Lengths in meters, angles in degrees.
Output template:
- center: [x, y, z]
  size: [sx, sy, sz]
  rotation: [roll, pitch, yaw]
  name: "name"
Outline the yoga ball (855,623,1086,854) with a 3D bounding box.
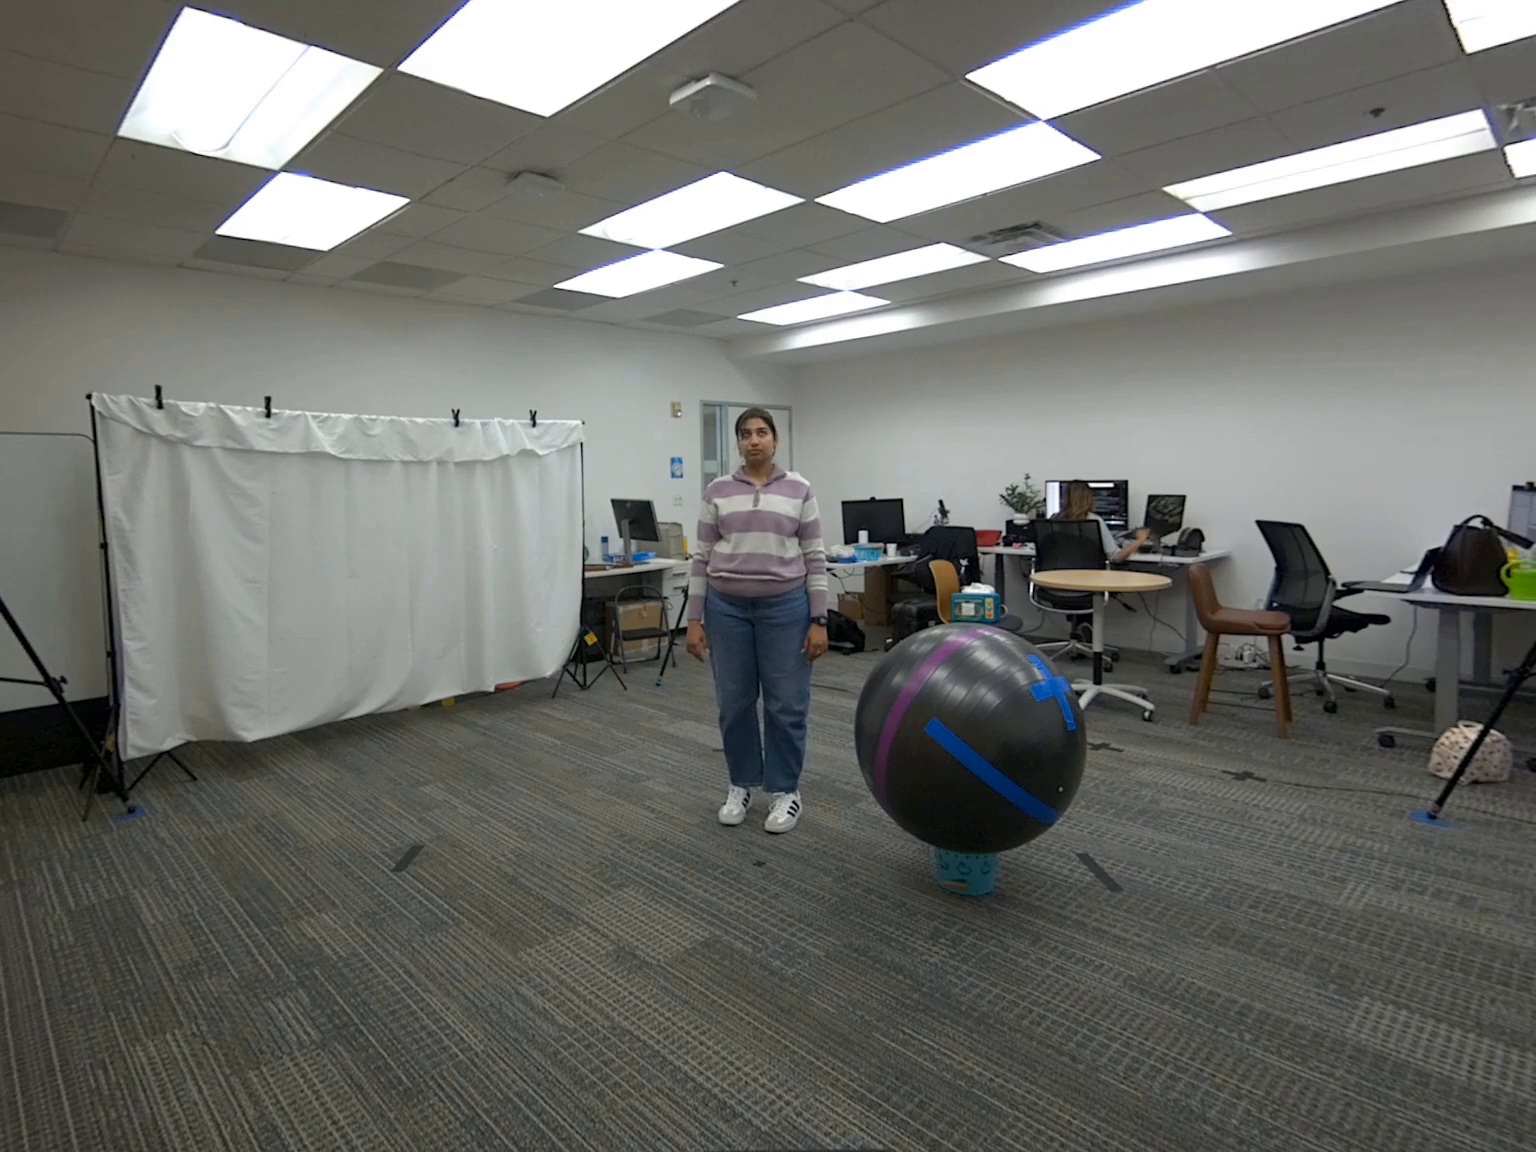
- center: [0.682, 0.546, 2.912]
  size: [0.757, 0.755, 0.762]
  rotation: [-1, 5, -2]
  name: "yoga ball"
